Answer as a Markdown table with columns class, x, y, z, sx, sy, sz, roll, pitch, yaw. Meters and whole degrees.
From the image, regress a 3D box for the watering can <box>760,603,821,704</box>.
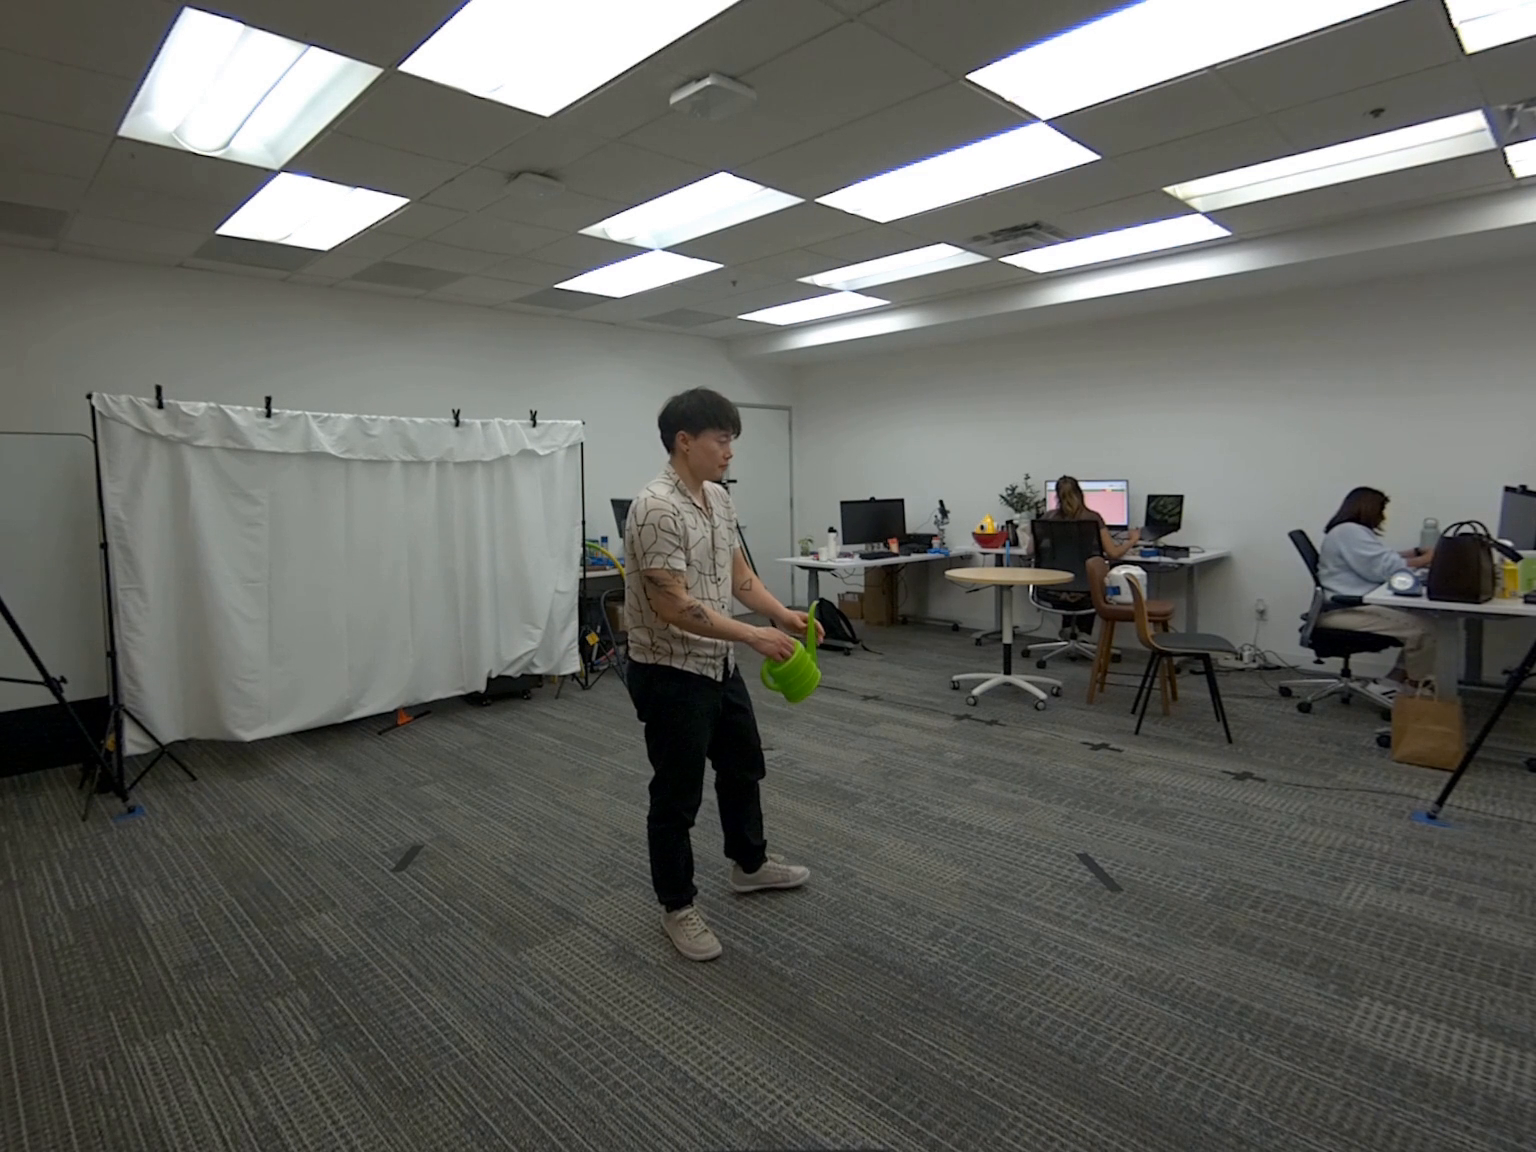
| class | x | y | z | sx | sy | sz | roll | pitch | yaw |
| --- | --- | --- | --- | --- | --- | --- | --- | --- | --- |
| watering can | 0.103 | 0.232 | 2.444 | 0.278 | 0.171 | 0.101 | -38 | 26 | -1 |
